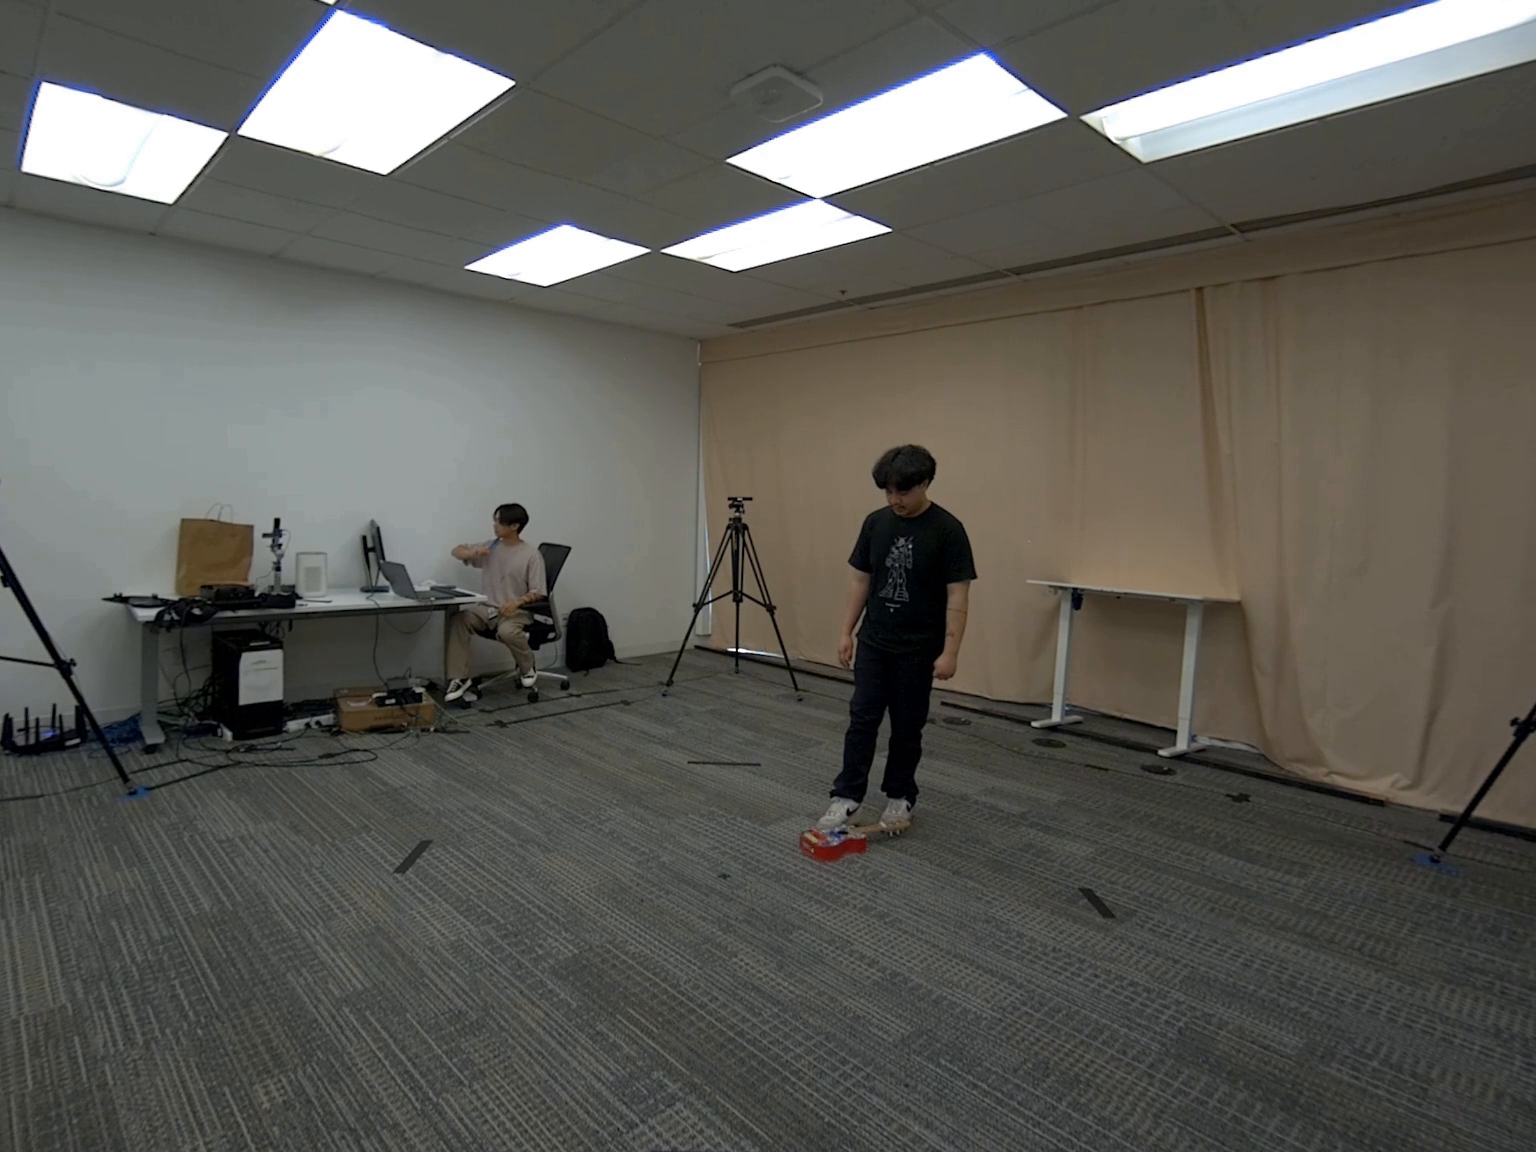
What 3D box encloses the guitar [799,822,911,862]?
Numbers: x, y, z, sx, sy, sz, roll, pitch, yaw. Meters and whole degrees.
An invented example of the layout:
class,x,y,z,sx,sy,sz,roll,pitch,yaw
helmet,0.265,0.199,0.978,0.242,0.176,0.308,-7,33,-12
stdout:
class,x,y,z,sx,sy,sz,roll,pitch,yaw
guitar,0.369,1.061,3.399,0.491,0.070,0.196,-1,5,-17
